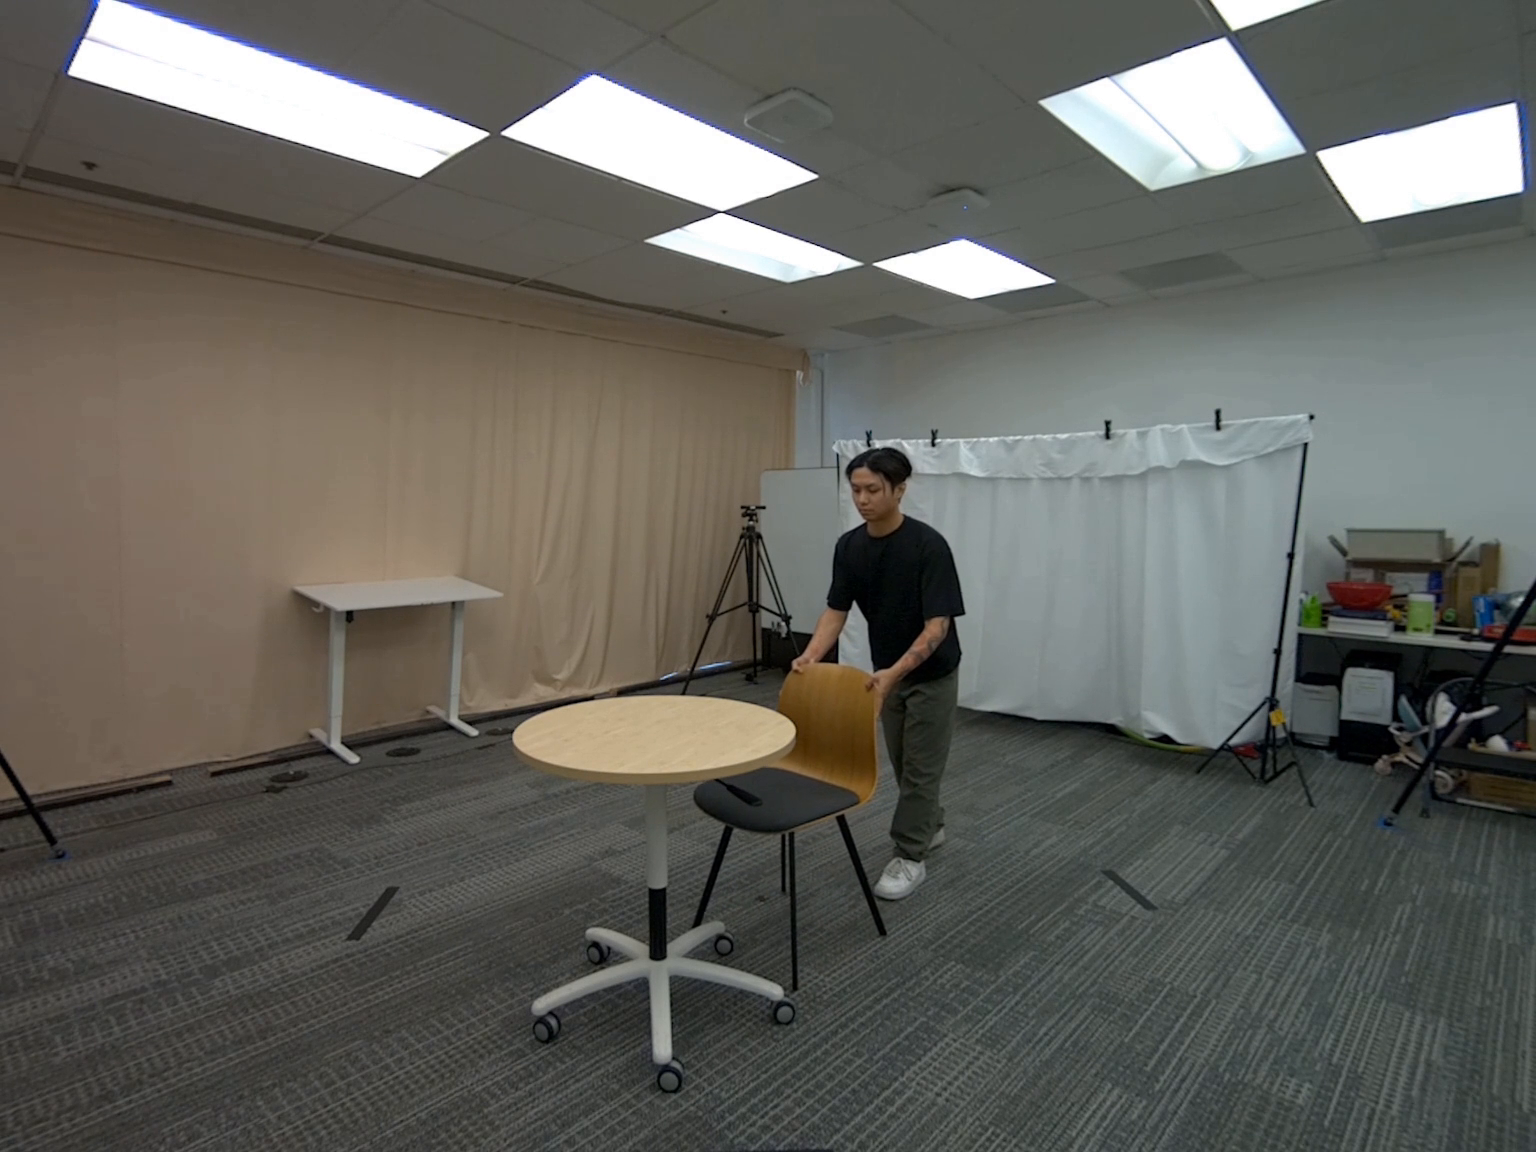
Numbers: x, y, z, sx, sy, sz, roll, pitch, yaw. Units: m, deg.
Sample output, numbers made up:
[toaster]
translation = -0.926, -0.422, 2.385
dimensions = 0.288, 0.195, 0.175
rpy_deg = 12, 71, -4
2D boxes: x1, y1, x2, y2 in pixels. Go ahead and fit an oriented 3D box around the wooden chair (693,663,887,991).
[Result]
[wooden chair]
translation = 0.065, 0.739, 2.700
dimensions = 0.506, 0.877, 0.494
rpy_deg = 2, 1, -45
